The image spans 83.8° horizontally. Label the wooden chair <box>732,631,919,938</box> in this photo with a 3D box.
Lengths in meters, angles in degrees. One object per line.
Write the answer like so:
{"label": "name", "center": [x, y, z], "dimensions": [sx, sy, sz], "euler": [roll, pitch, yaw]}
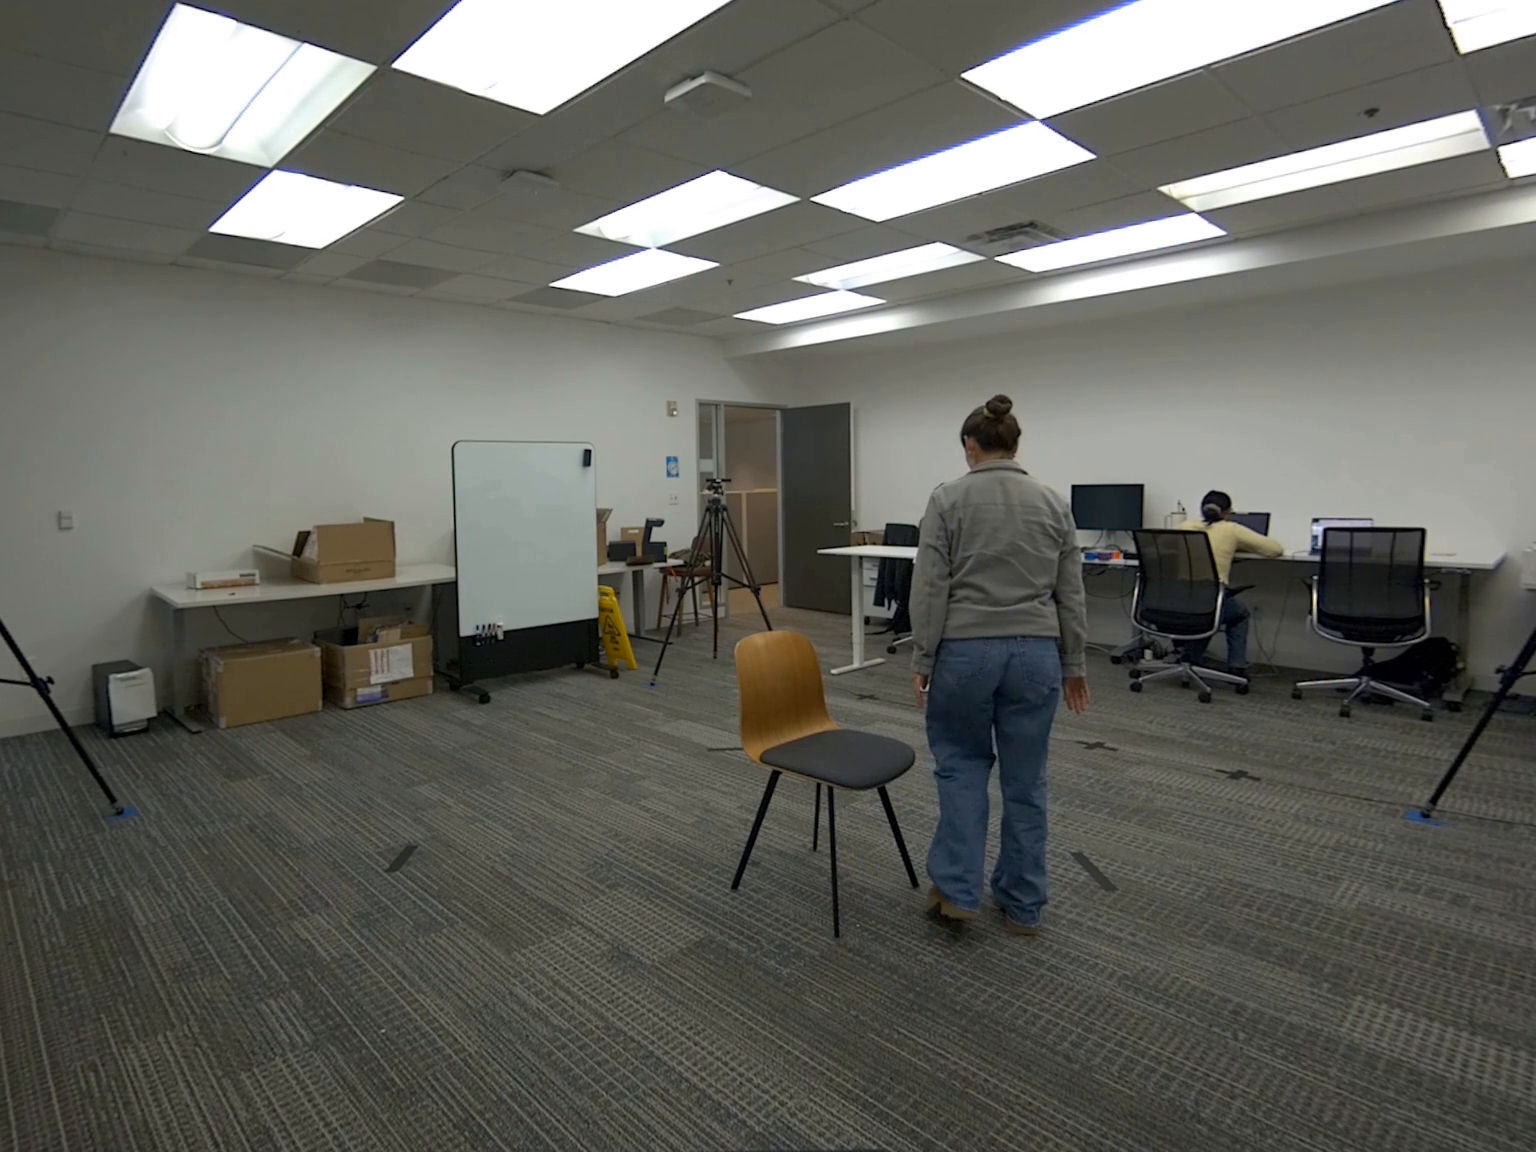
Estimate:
{"label": "wooden chair", "center": [0.190, 0.641, 2.871], "dimensions": [0.538, 0.877, 0.465], "euler": [-3, 2, 44]}
